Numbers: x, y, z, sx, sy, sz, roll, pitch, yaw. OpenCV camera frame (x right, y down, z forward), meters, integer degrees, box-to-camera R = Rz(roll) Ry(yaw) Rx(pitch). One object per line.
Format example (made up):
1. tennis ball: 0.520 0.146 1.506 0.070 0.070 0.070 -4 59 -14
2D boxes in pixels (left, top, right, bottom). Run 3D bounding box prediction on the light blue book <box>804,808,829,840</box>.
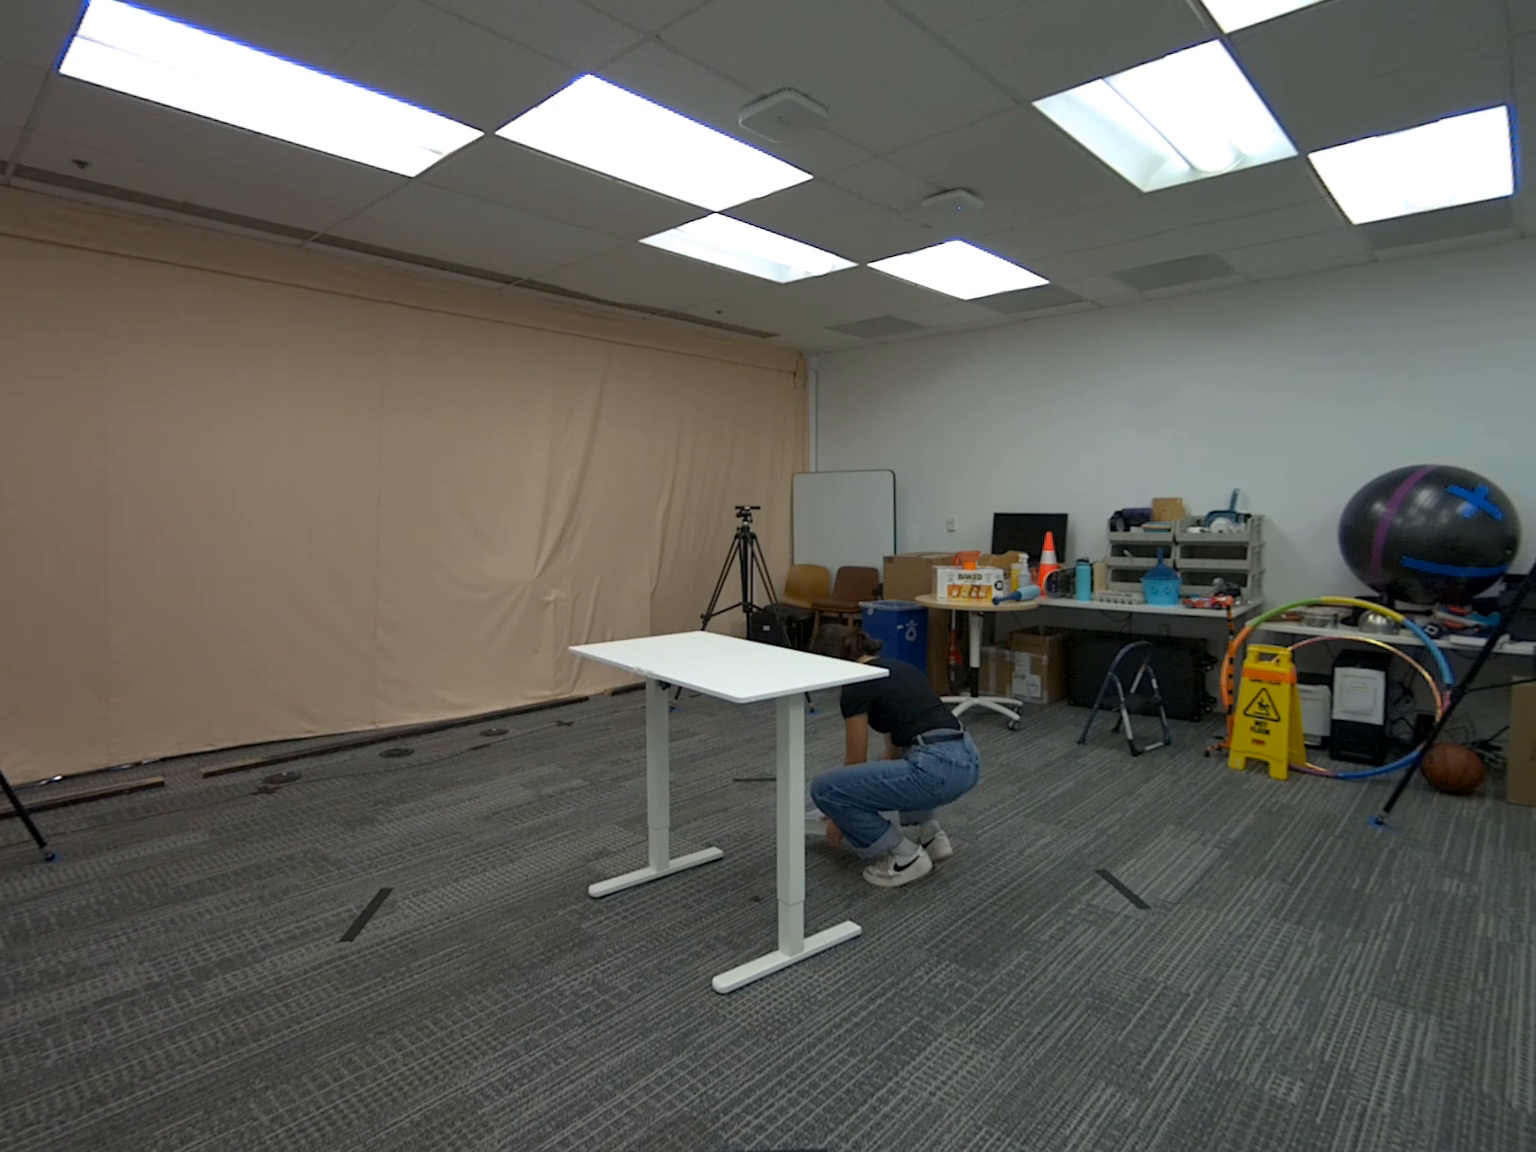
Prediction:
1. light blue book: 0.268 0.989 3.399 0.185 0.059 0.268 0 -5 -44
